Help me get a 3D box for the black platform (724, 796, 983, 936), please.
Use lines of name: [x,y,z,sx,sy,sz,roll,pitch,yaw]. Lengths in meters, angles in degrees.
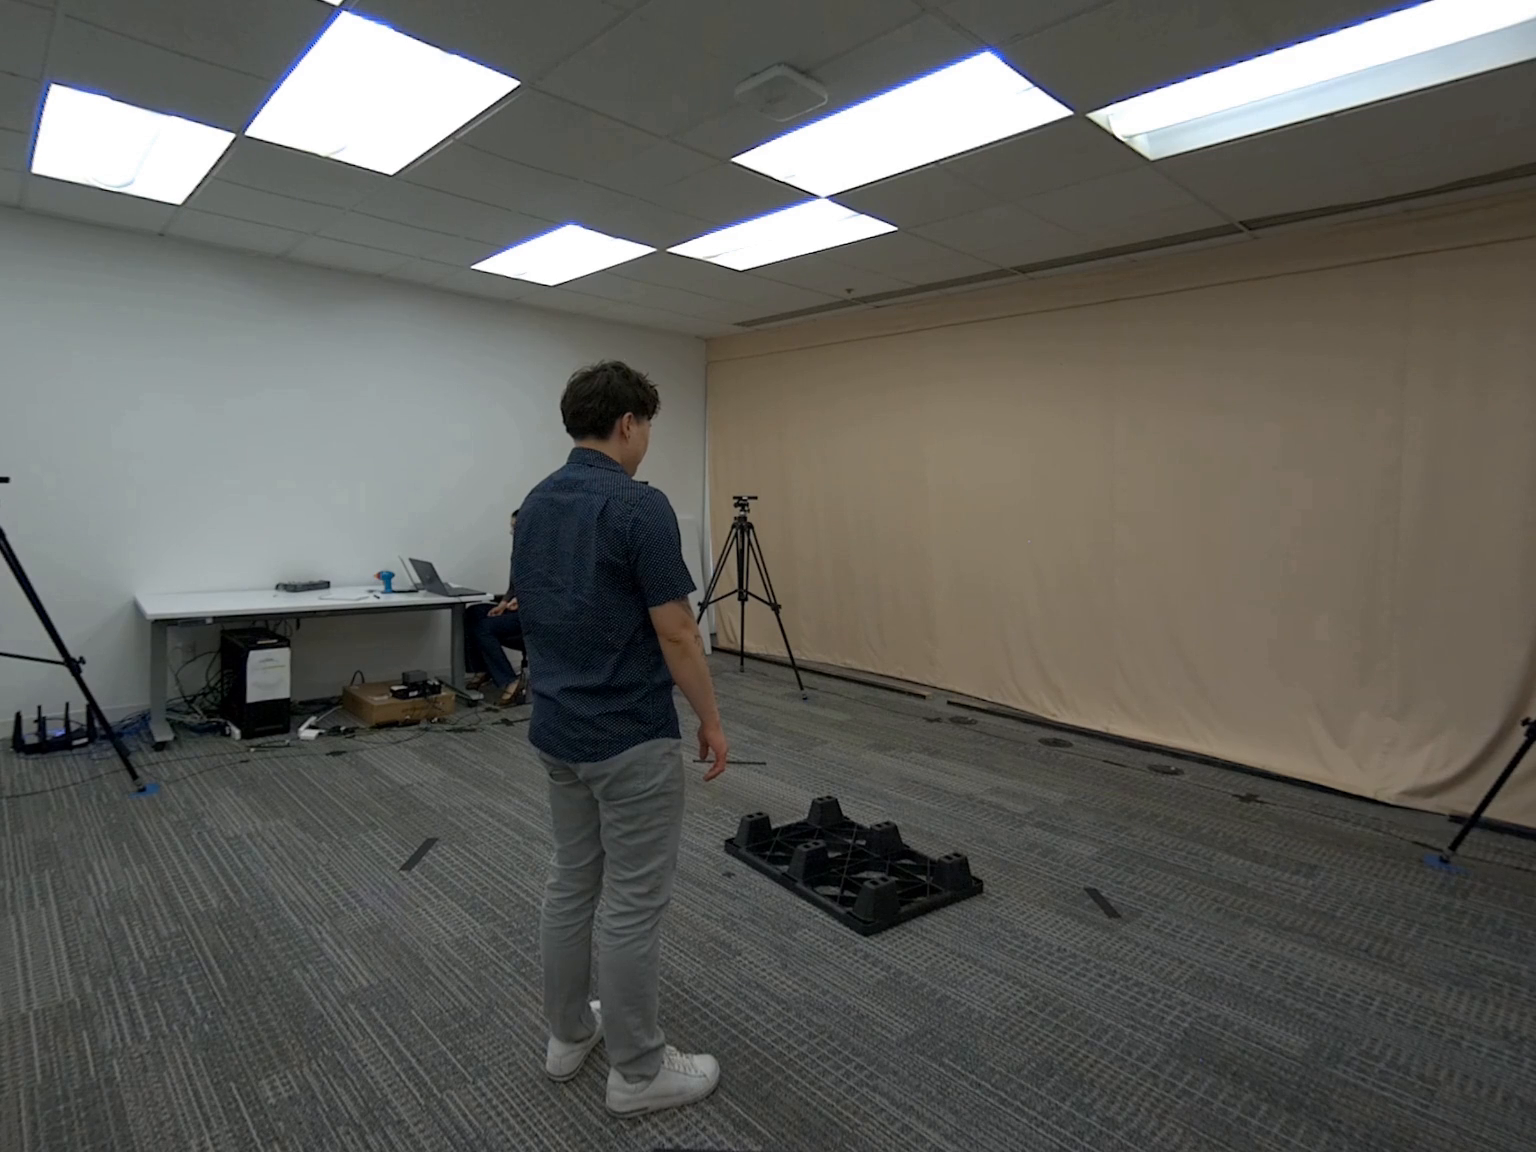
black platform: [0.300,1.042,3.168,0.592,0.143,0.826,-3,7,-37]
